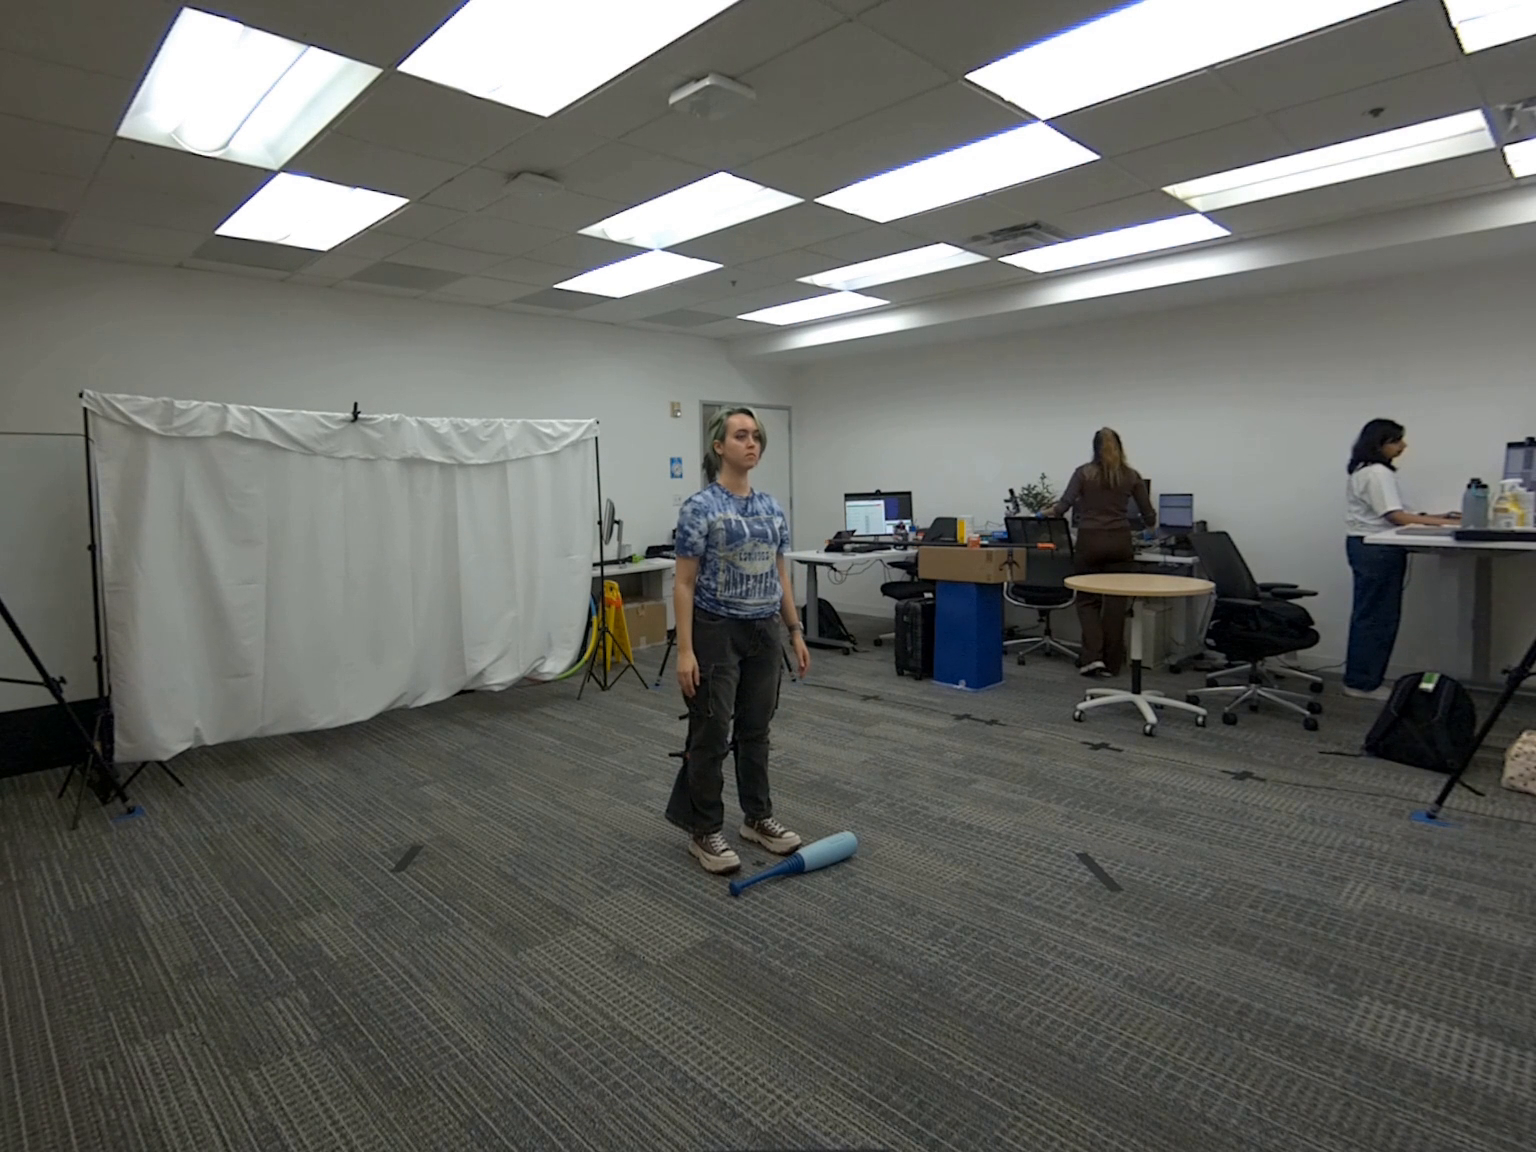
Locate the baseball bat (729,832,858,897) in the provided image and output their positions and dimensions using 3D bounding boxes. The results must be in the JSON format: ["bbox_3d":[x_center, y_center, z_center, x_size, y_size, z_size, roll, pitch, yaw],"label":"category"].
[{"bbox_3d":[0.090,1.013,3.015,0.530,0.088,0.091,-7,7,-31],"label":"baseball bat"}]
